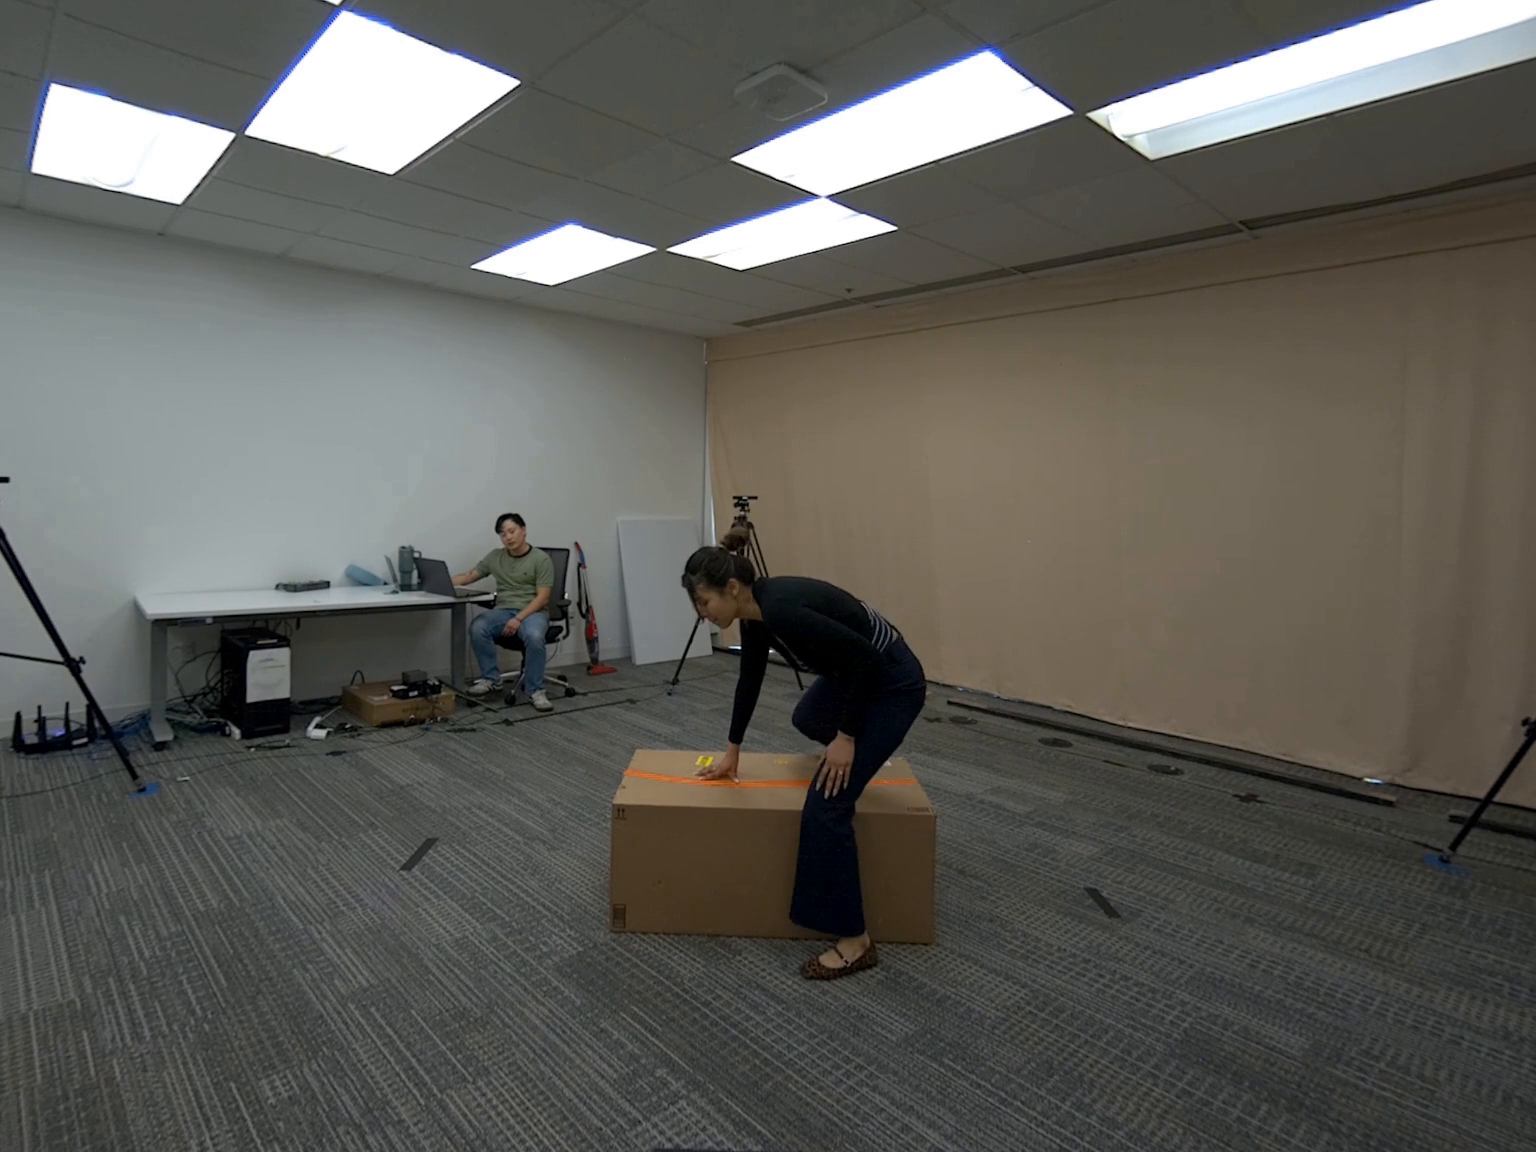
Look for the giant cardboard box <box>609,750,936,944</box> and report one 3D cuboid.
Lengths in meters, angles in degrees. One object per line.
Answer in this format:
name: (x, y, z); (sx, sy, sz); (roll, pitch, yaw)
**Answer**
giant cardboard box: (0.001, 0.912, 2.925); (1.027, 0.425, 0.578); (1, 4, 1)
